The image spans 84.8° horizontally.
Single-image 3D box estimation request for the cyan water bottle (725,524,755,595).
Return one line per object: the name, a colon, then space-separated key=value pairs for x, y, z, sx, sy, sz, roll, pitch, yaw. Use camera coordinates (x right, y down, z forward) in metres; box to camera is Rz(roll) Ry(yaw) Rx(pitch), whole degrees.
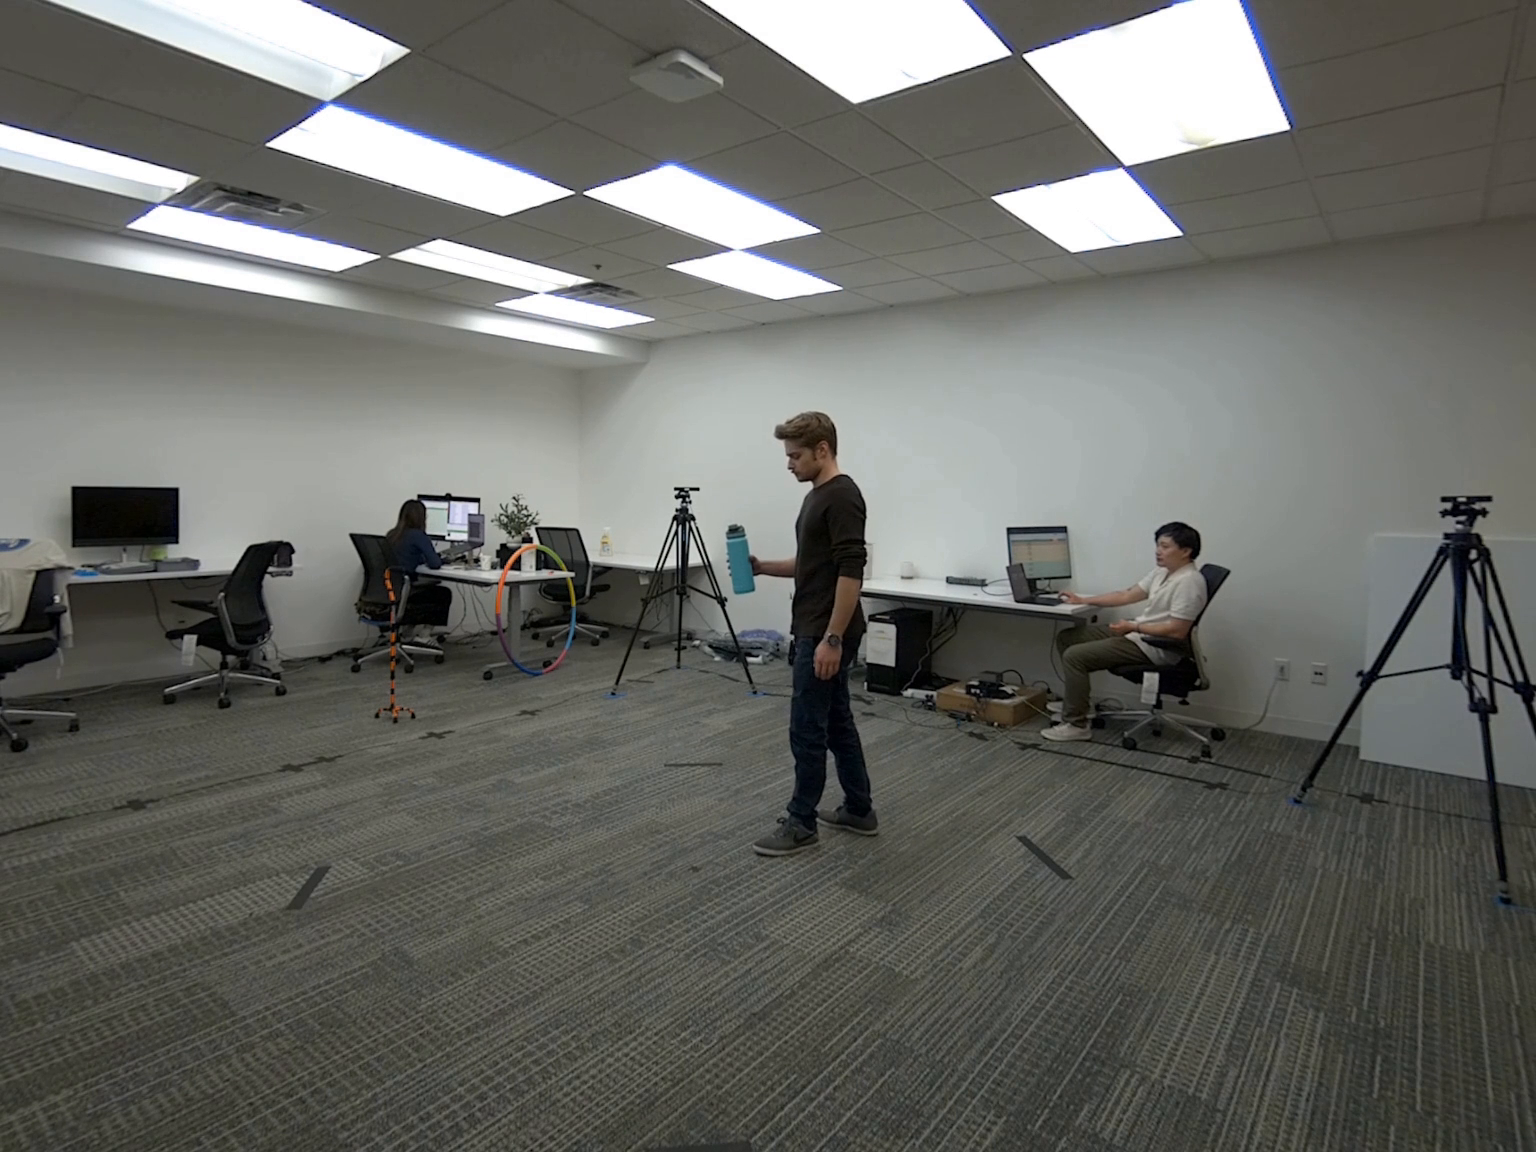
cyan water bottle: x=-0.123 y=-0.078 z=3.490 sx=0.092 sy=0.282 sz=0.093 roll=-10 pitch=3 yaw=-1
